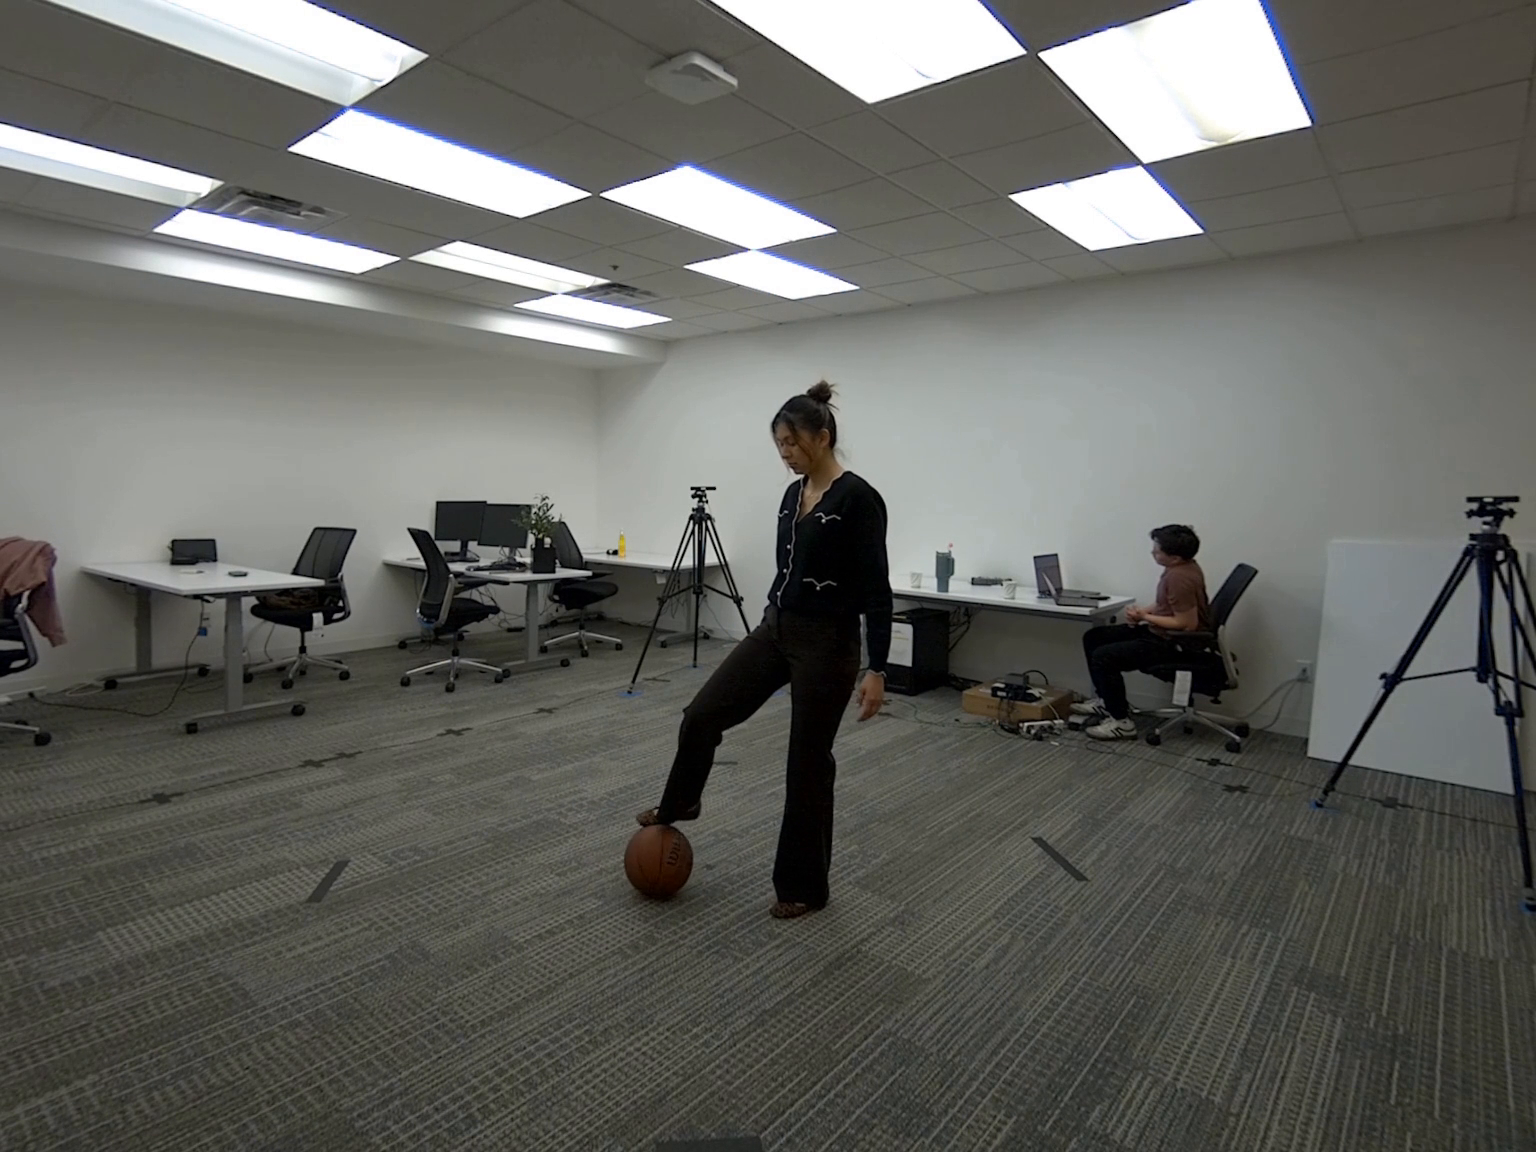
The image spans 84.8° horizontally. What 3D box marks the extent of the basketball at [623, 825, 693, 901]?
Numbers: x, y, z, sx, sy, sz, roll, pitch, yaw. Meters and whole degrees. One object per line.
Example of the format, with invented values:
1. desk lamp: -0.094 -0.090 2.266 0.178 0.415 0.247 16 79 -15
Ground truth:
1. basketball: -0.376 0.968 2.884 0.235 0.235 0.237 1 4 -2
